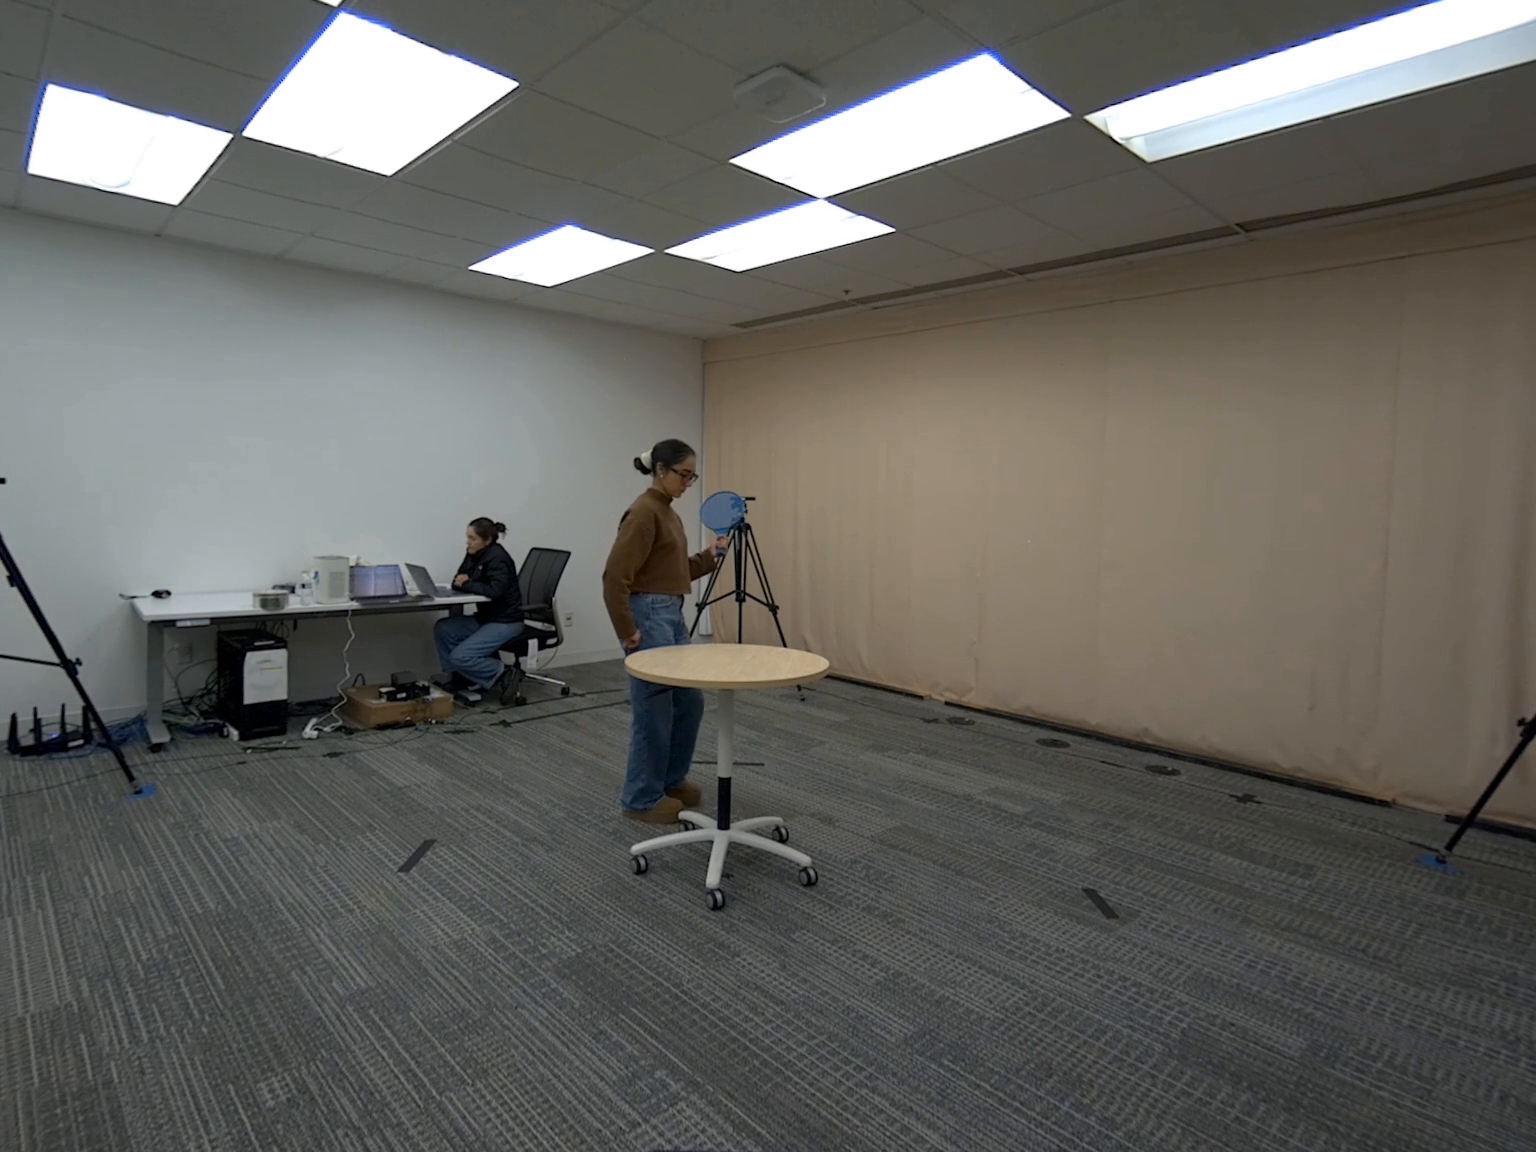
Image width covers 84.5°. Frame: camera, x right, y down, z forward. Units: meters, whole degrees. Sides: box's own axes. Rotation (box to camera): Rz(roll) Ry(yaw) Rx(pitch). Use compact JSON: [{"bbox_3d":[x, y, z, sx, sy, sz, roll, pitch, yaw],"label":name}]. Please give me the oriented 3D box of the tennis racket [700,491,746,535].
[{"bbox_3d":[-0.238,-0.249,3.936,0.215,0.441,0.031,-4,-42,9],"label":"tennis racket"}]
